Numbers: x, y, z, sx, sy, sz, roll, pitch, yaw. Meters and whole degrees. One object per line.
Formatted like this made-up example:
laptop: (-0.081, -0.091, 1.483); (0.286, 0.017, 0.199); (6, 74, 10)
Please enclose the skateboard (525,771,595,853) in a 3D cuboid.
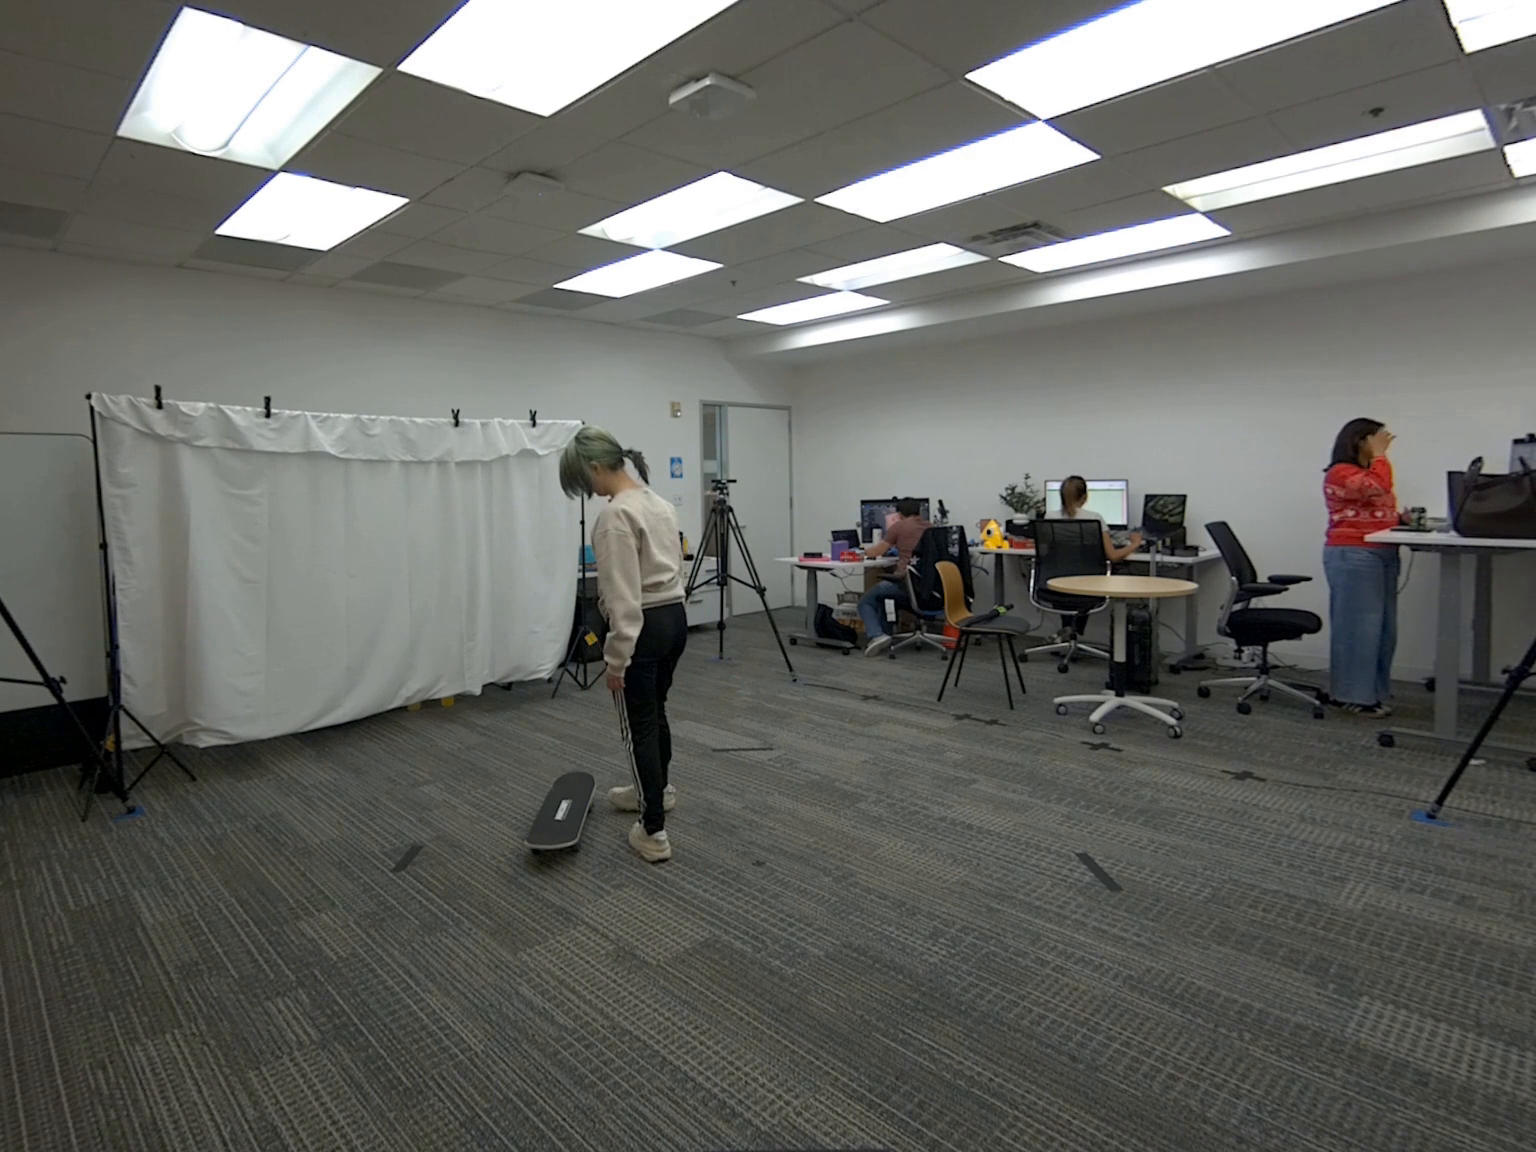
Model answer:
skateboard: (-0.816, 0.967, 3.427); (0.193, 0.110, 0.791); (-3, 6, -4)
